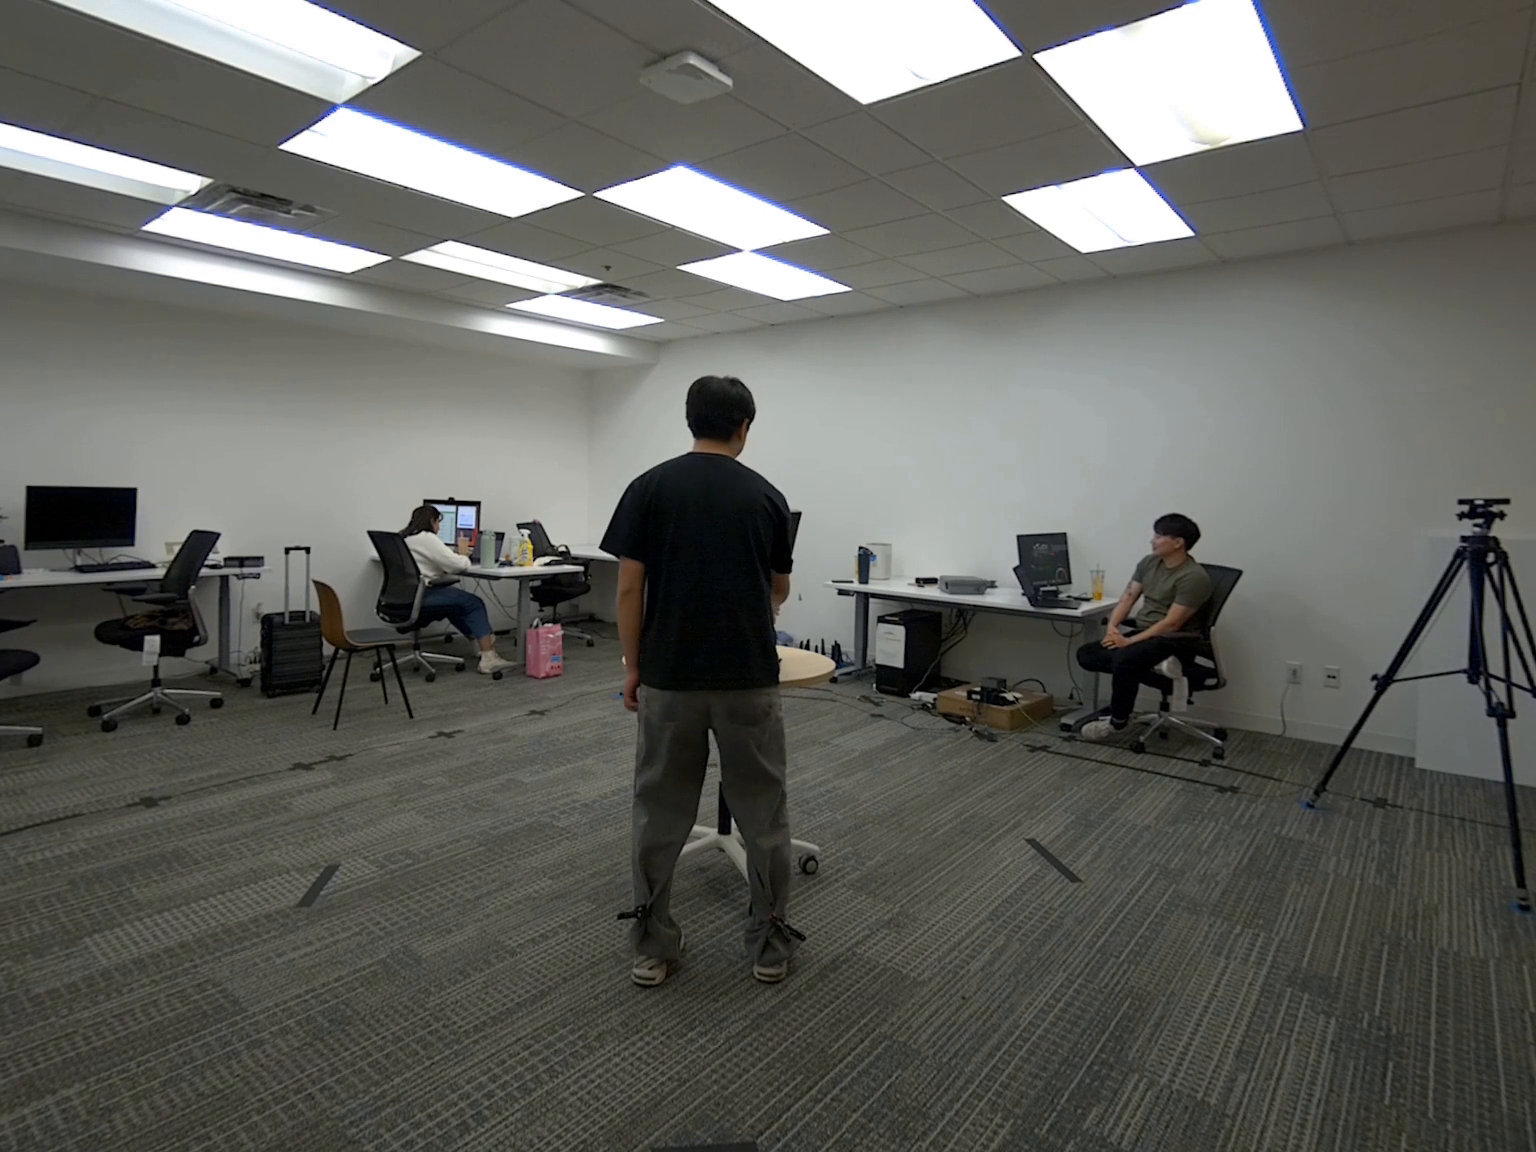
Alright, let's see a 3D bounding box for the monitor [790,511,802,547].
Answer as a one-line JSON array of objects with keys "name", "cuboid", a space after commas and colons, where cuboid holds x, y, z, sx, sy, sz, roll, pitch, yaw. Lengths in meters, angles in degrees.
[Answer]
[{"name": "monitor", "cuboid": [-0.107, 0.041, 3.040, 0.545, 0.565, 0.229, -1, 2, -39]}]
